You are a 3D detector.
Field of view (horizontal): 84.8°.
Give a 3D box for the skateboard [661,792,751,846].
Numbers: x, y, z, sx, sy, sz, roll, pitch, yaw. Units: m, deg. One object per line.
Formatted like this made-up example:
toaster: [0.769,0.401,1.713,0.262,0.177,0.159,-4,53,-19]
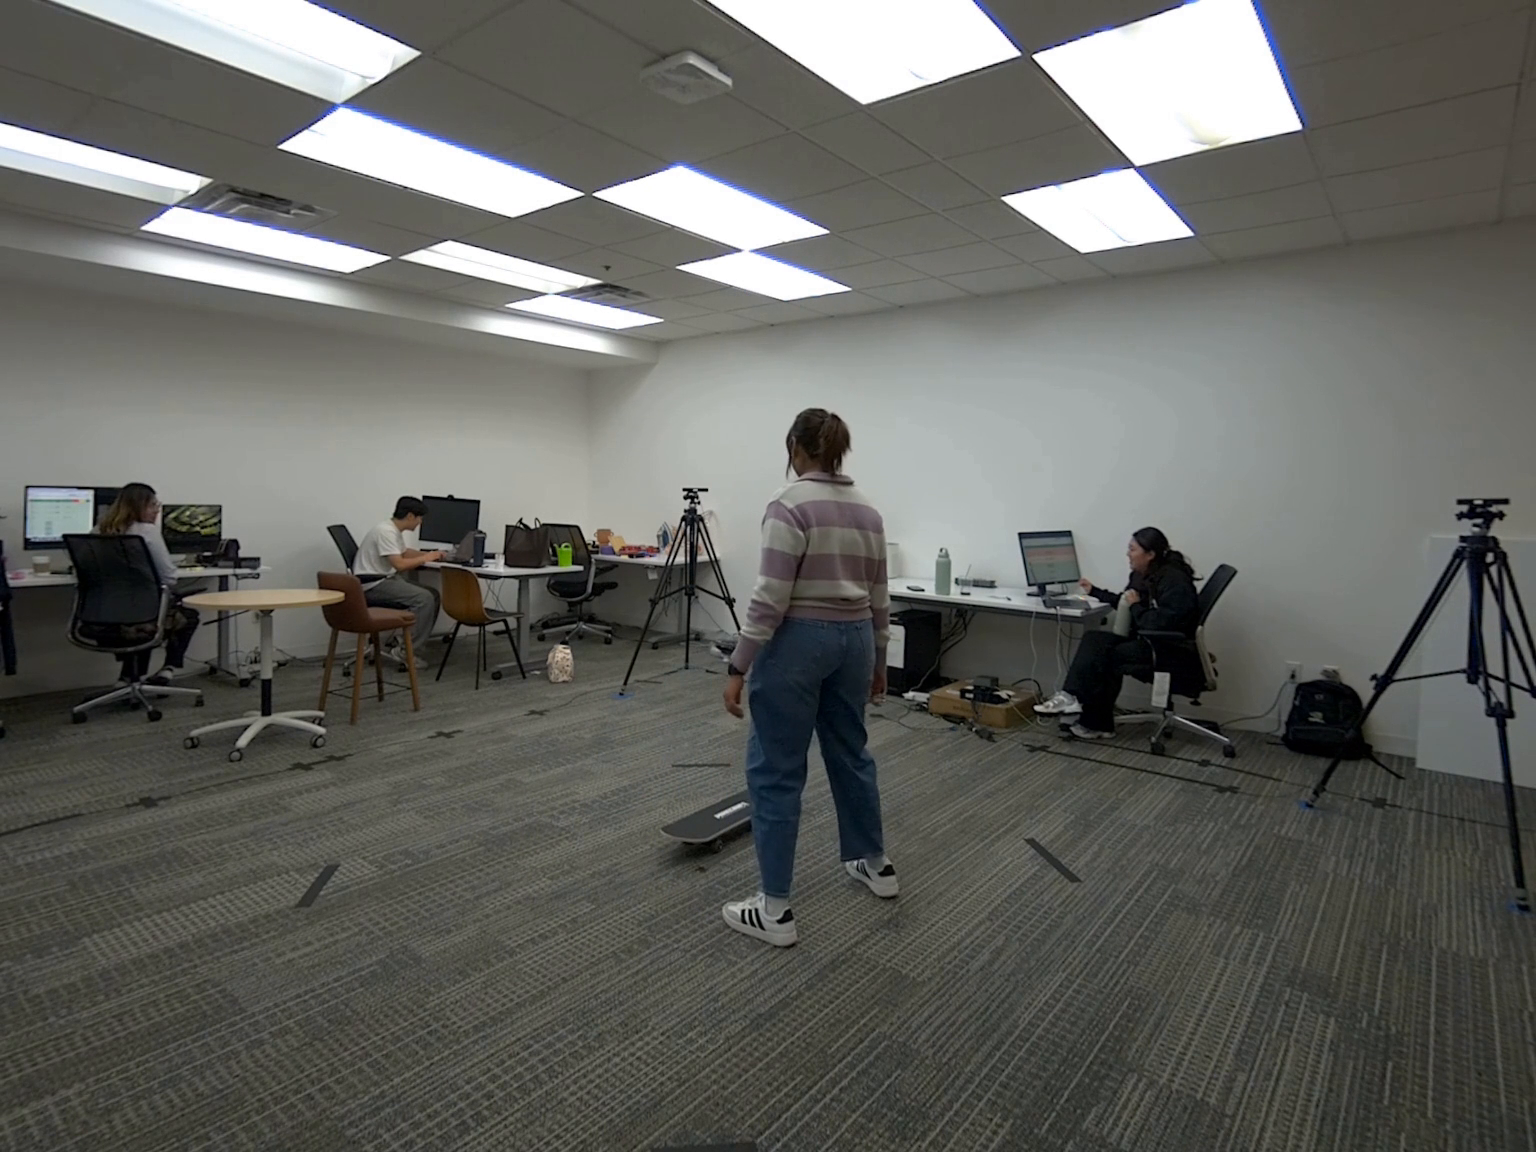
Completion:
skateboard: [-0.151,0.980,3.456,0.200,0.110,0.763,5,7,35]
